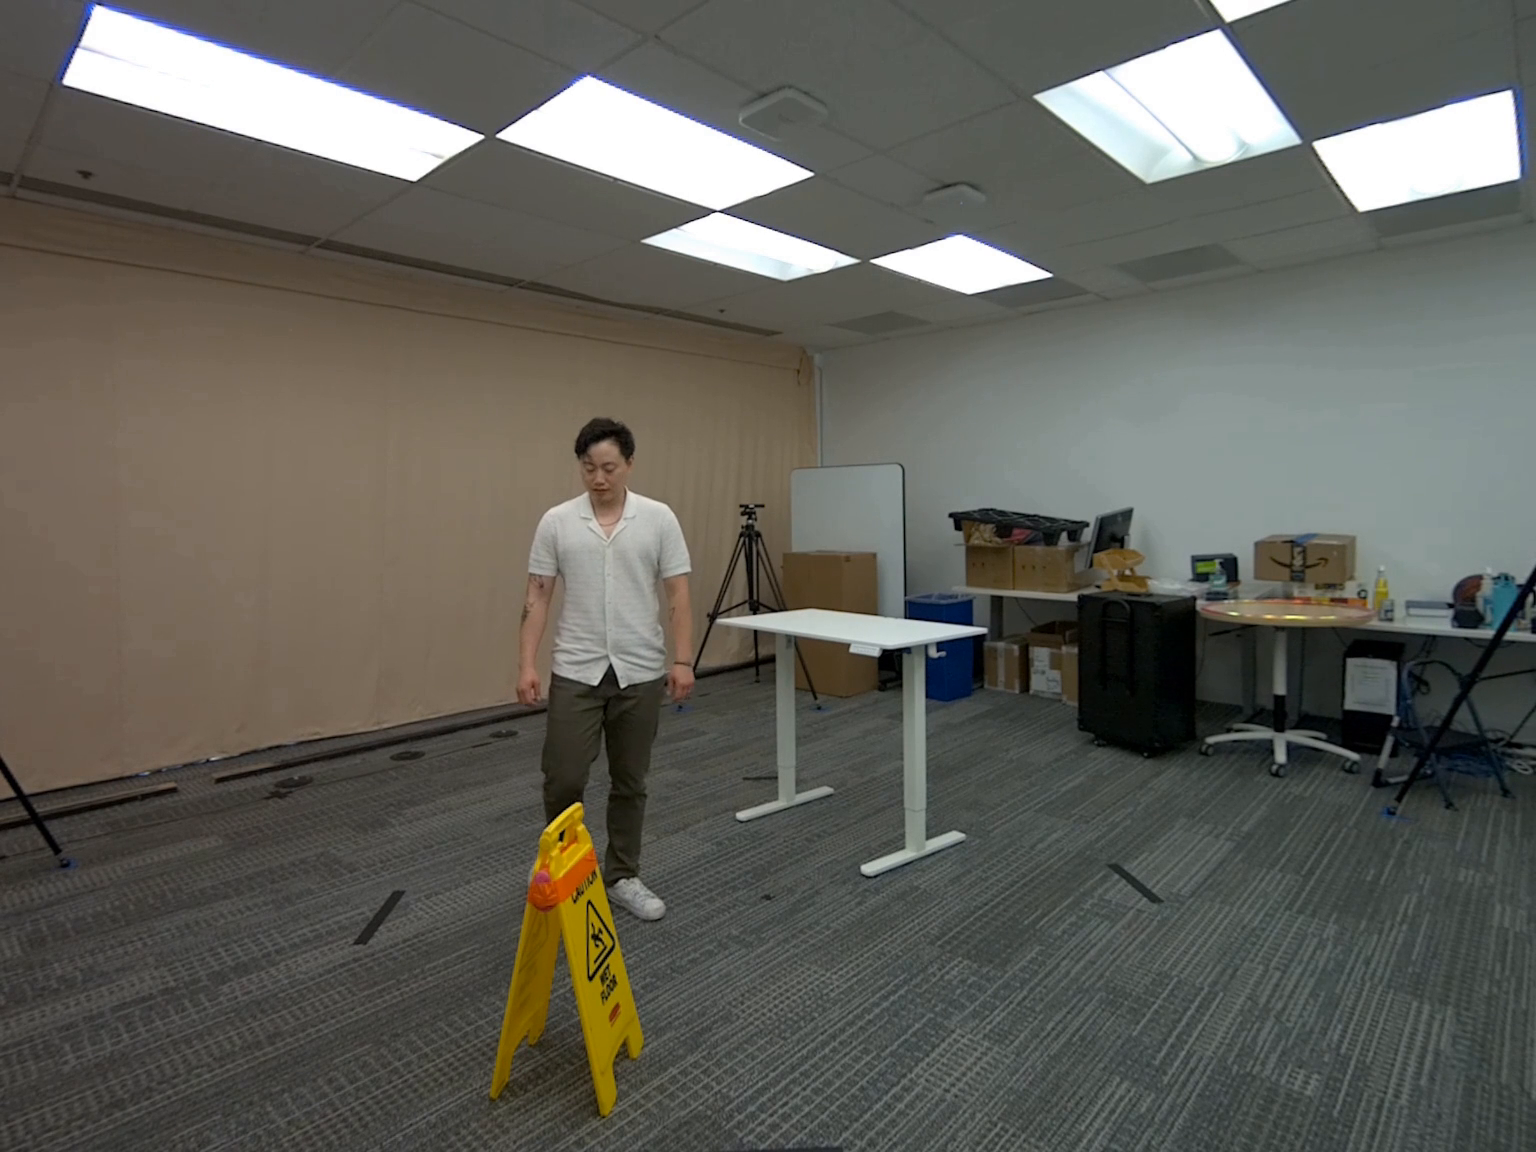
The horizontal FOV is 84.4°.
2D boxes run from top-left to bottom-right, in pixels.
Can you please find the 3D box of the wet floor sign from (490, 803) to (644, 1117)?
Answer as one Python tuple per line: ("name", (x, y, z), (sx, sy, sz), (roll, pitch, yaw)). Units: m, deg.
("wet floor sign", (-0.498, 0.905, 2.061), (0.293, 0.645, 0.279), (0, 2, 10))
